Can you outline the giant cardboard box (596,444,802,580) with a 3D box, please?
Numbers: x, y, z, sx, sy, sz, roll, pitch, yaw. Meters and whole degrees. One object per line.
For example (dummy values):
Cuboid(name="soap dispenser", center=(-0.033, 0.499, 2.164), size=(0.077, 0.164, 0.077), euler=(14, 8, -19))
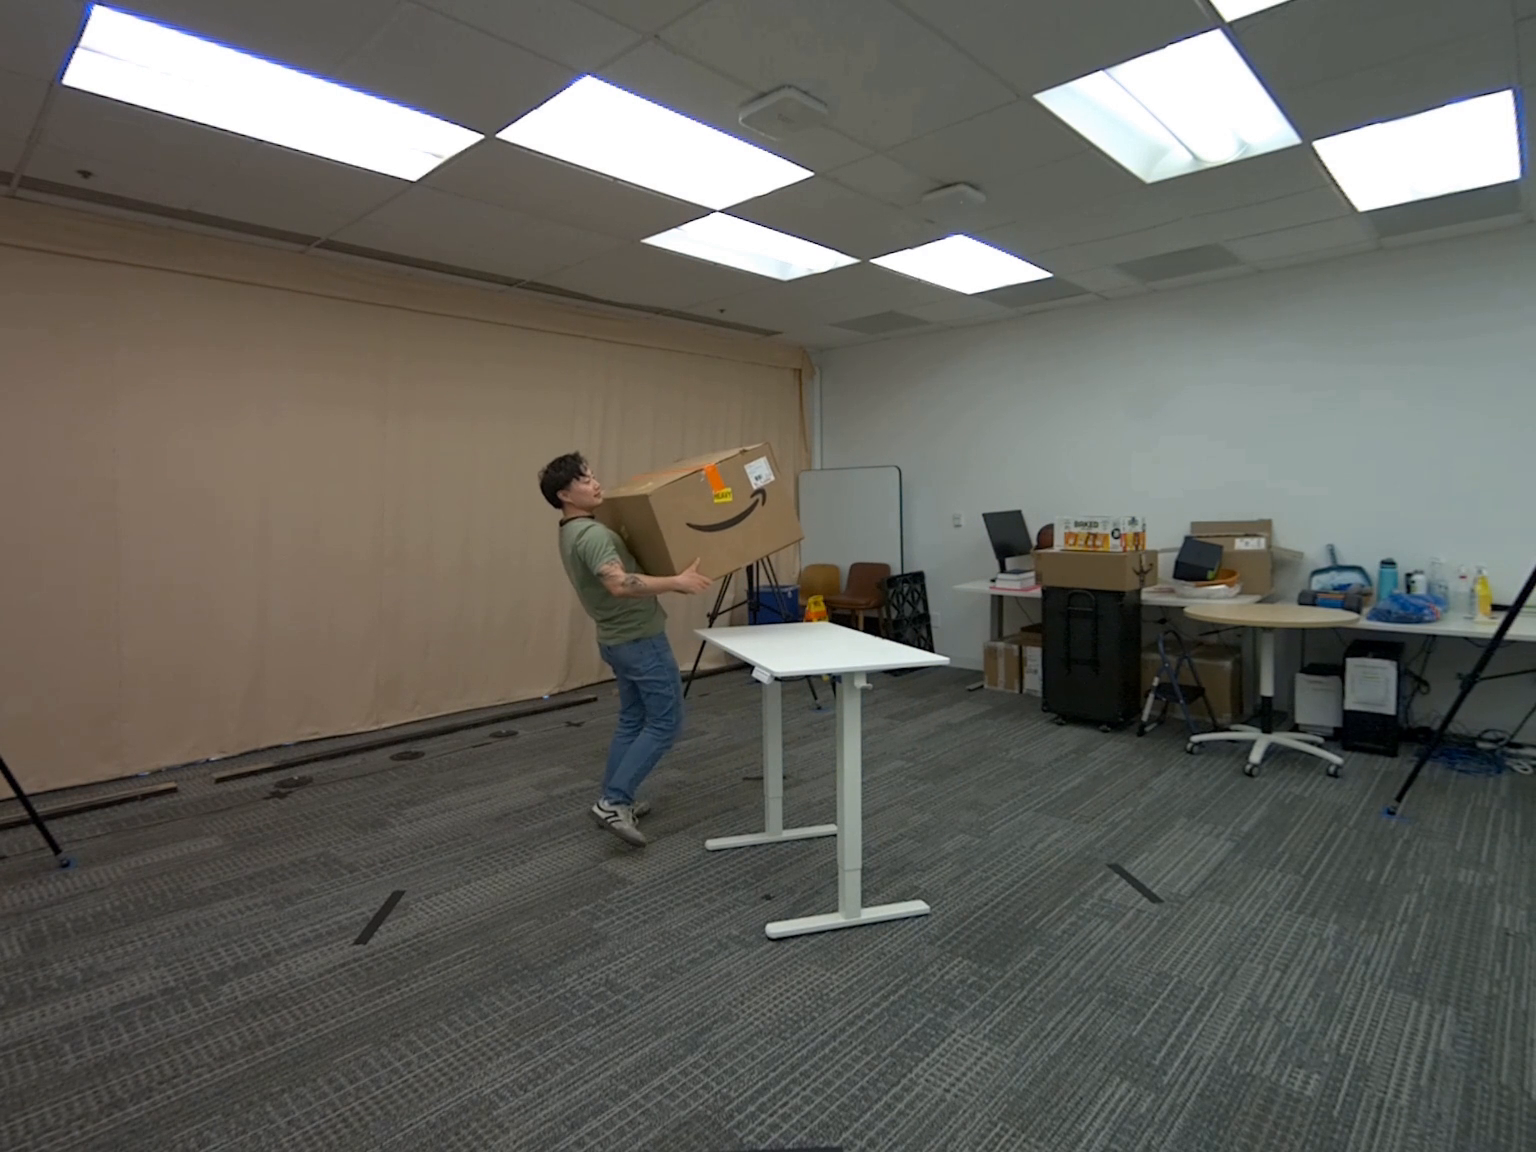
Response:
Cuboid(name="giant cardboard box", center=(-0.380, -0.262, 3.773), size=(0.569, 0.421, 1.052), euler=(-26, 13, -22))
